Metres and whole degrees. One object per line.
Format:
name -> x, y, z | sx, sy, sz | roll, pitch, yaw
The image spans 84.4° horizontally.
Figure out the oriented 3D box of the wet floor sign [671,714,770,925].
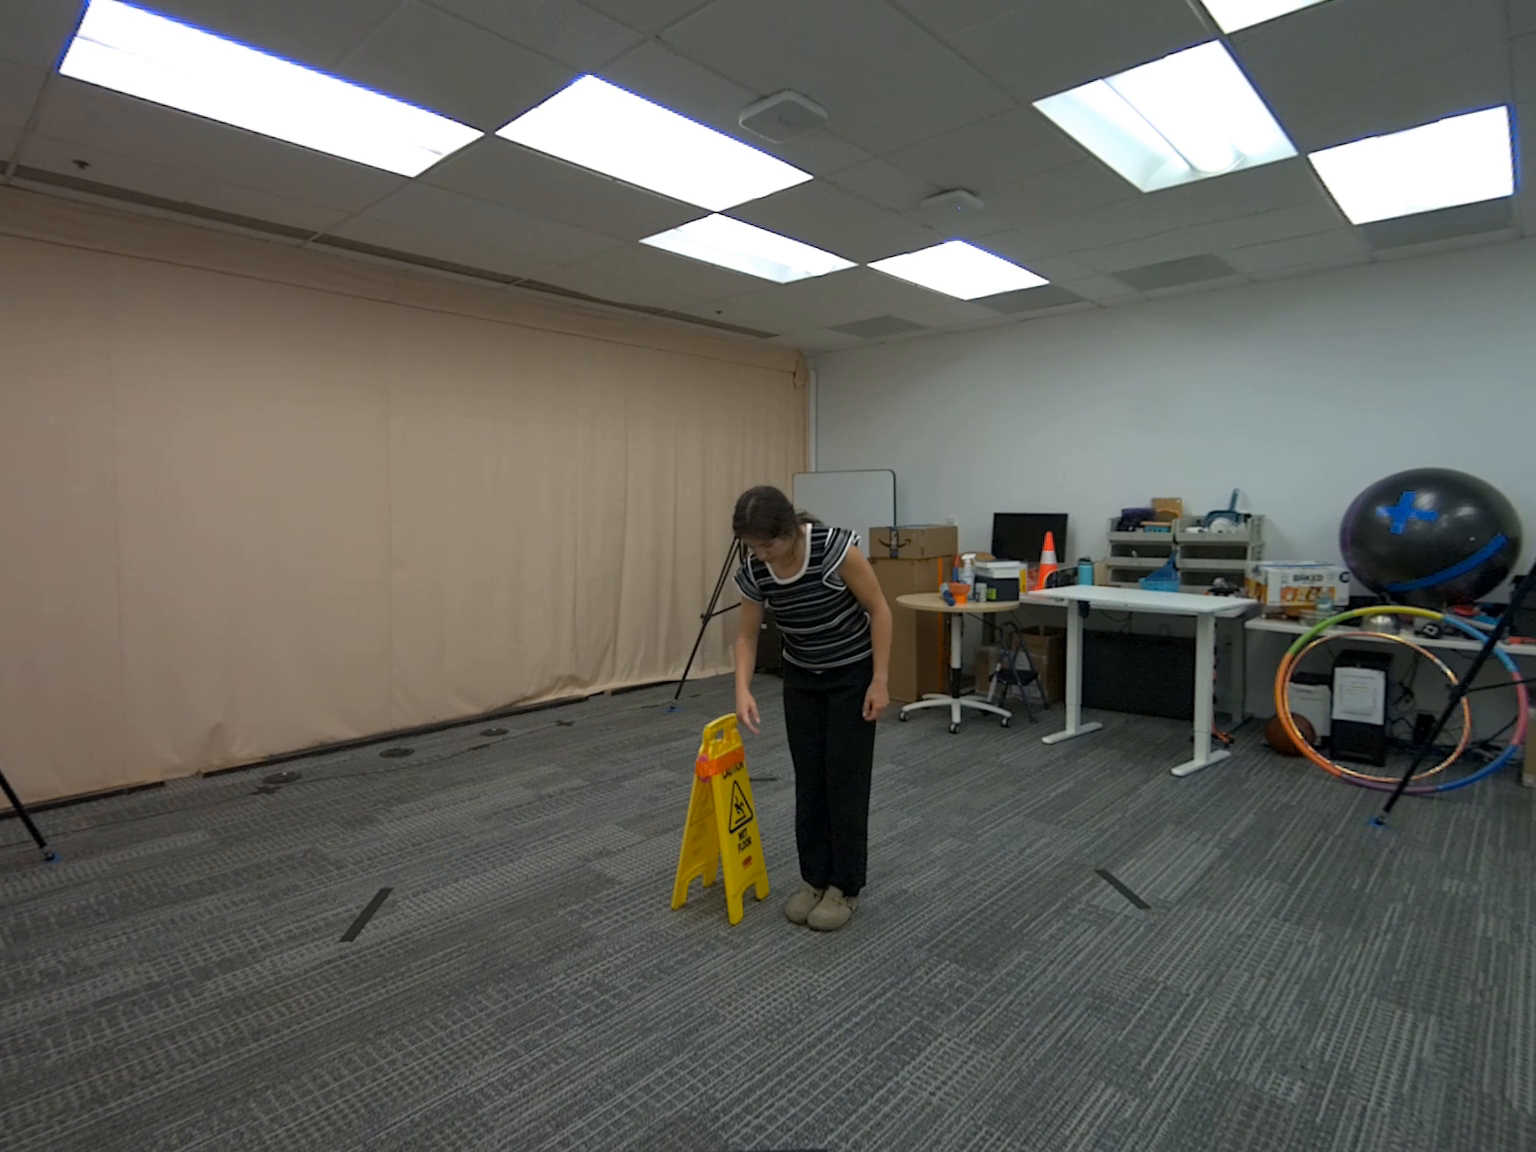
wet floor sign -> -0.165, 0.827, 2.949 | 0.298, 0.645, 0.275 | 1, 2, 28
